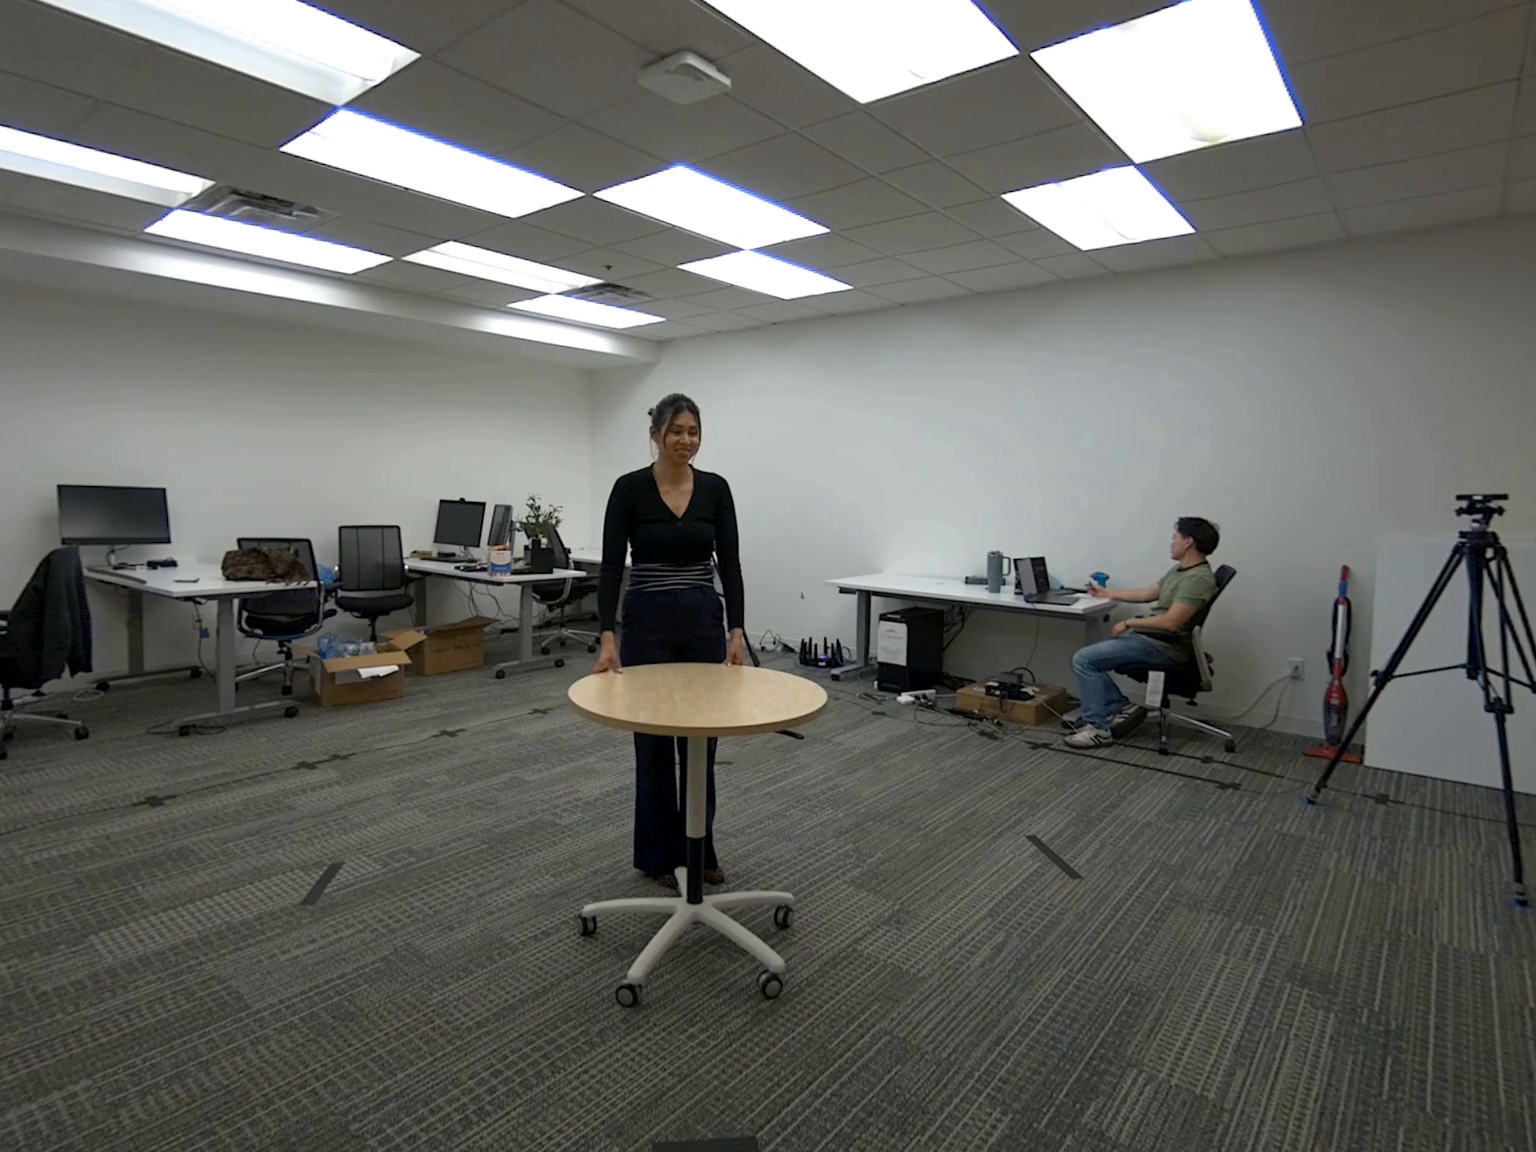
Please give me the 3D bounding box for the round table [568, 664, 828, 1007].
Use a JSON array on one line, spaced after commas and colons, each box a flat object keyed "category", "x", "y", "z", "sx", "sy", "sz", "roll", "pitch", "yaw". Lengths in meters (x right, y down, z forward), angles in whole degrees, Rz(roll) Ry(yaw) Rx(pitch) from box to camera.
[{"category": "round table", "x": -0.231, "y": 0.729, "z": 2.557, "sx": 0.763, "sy": 0.791, "sz": 0.768, "roll": 1, "pitch": 5, "yaw": -2}]
